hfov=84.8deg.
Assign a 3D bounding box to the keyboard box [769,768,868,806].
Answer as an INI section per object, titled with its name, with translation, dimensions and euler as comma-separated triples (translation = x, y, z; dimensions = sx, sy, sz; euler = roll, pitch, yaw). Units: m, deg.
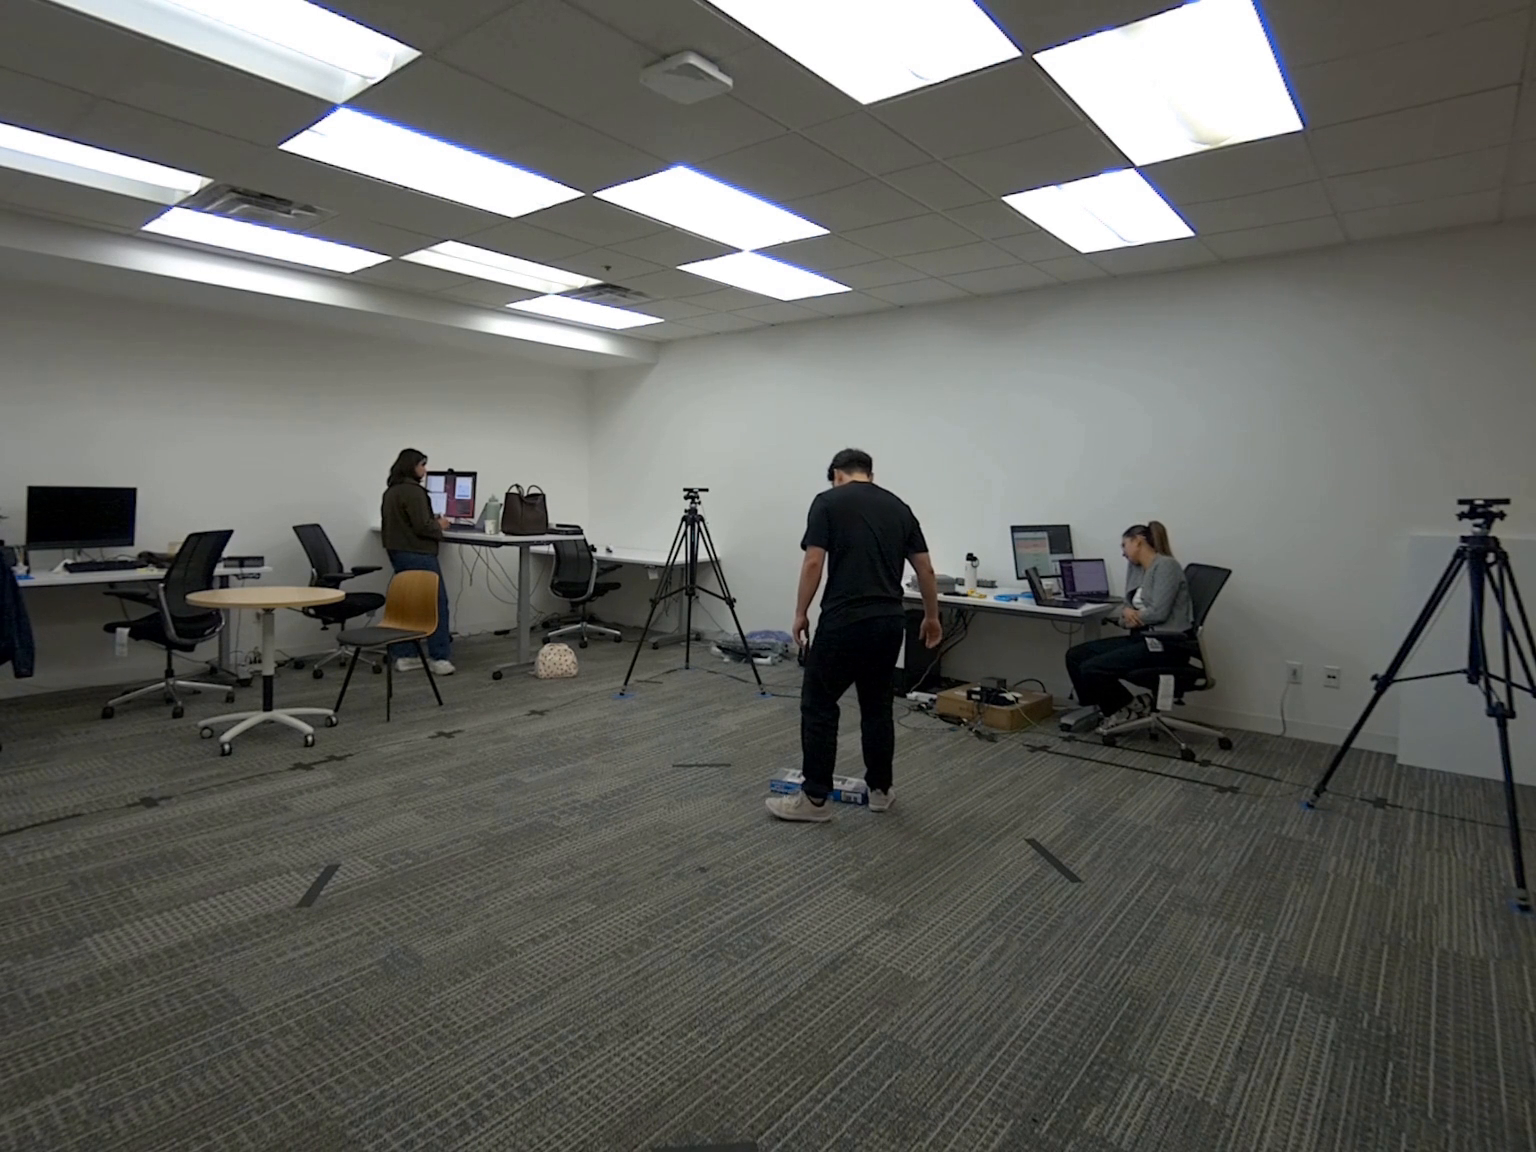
[keyboard box]
translation = 0.233, 0.965, 3.930
dimensions = 0.446, 0.059, 0.173
euler = 3, 6, 19
